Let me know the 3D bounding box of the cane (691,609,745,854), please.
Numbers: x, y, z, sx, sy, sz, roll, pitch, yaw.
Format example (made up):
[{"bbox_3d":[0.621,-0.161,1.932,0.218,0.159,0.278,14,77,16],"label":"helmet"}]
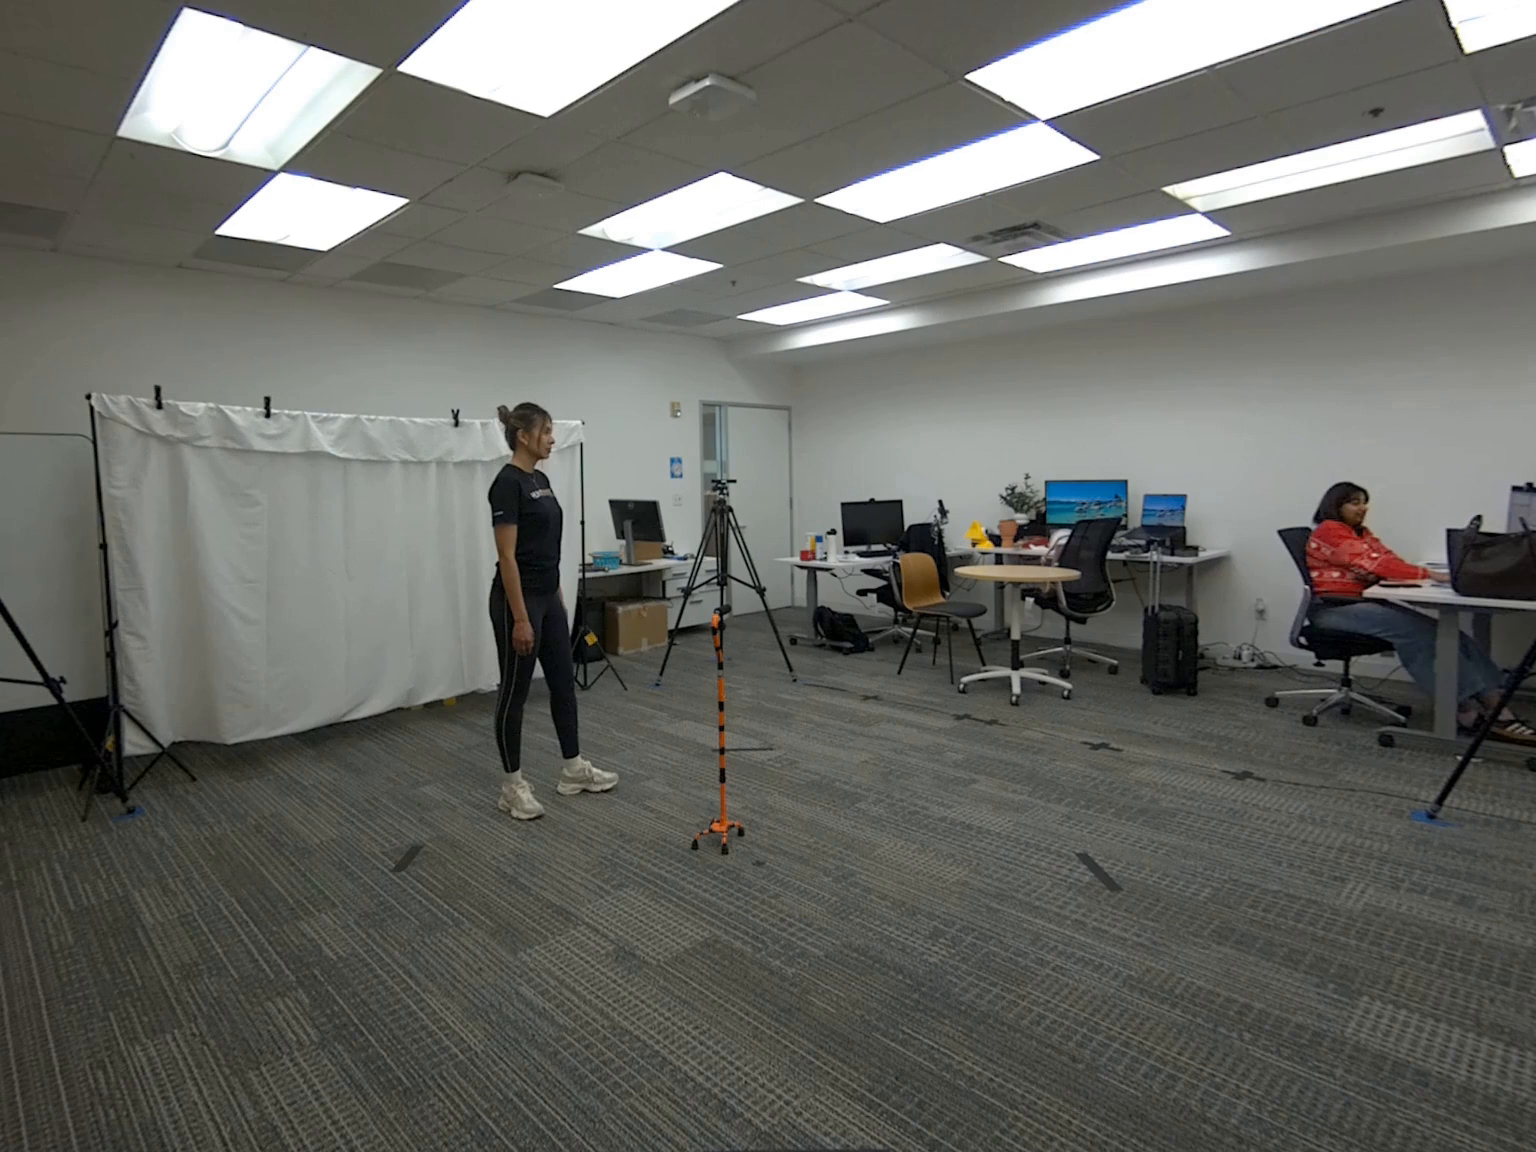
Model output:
[{"bbox_3d":[-0.192,0.577,3.270,0.154,0.904,0.204,0,4,15],"label":"cane"}]
